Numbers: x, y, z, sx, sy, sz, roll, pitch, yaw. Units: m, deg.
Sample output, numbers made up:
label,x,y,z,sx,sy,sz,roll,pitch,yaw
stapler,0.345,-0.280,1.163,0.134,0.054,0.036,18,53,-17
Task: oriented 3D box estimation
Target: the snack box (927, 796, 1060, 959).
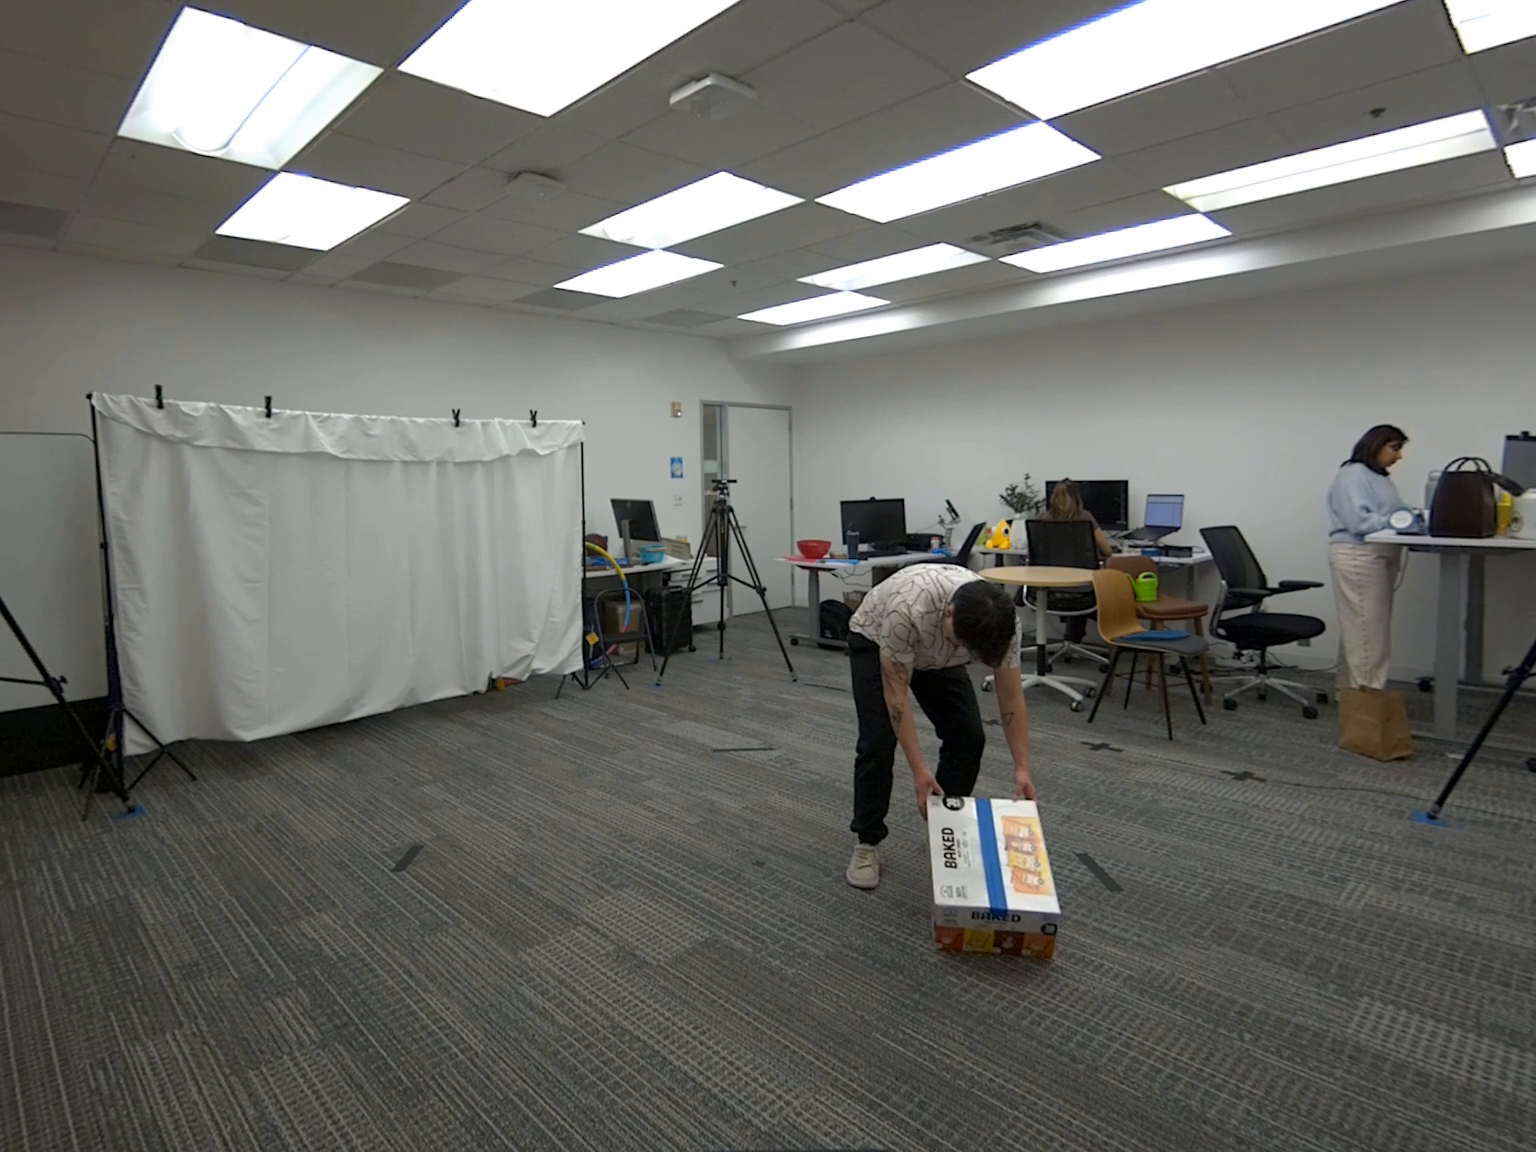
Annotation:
label,x,y,z,sx,sy,sz,roll,pitch,yaw
snack box,0.667,0.906,2.610,0.343,0.200,0.412,0,32,8
